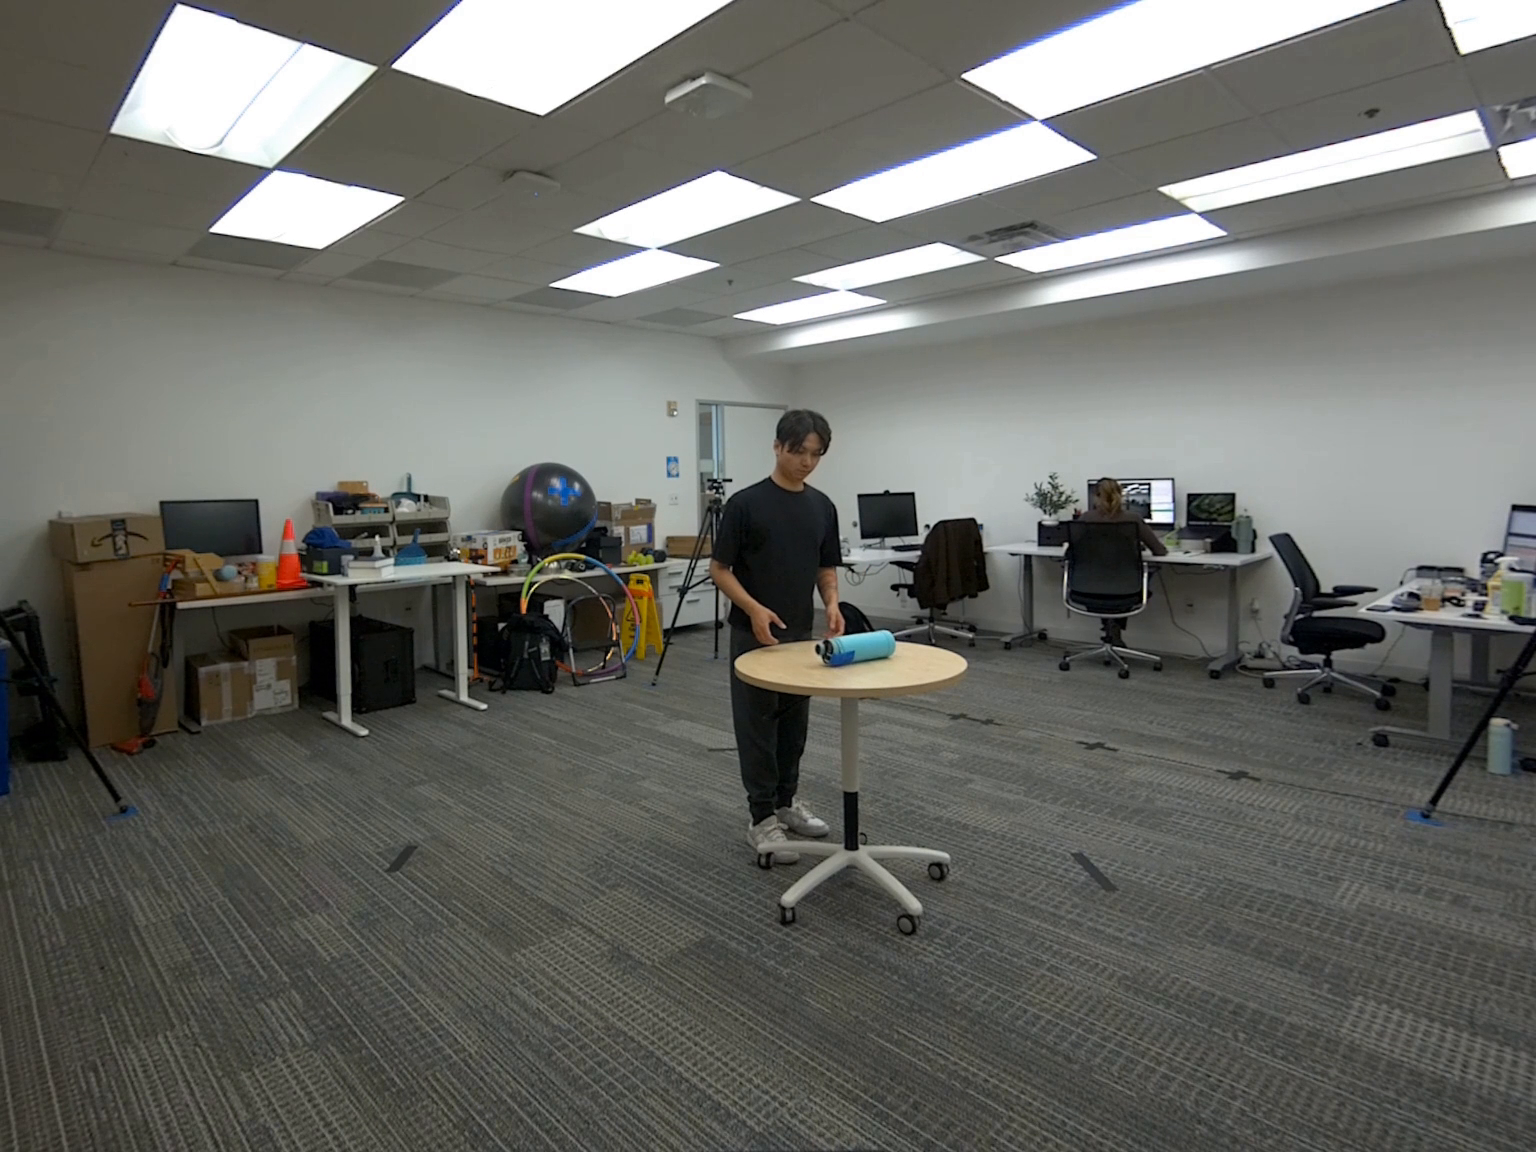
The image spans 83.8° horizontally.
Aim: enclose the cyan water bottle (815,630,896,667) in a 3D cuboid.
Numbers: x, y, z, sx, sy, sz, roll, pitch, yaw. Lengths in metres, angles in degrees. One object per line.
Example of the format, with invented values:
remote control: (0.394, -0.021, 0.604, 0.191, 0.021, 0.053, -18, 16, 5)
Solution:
cyan water bottle: (0.287, 0.239, 2.847, 0.277, 0.092, 0.095, -4, 6, -31)
